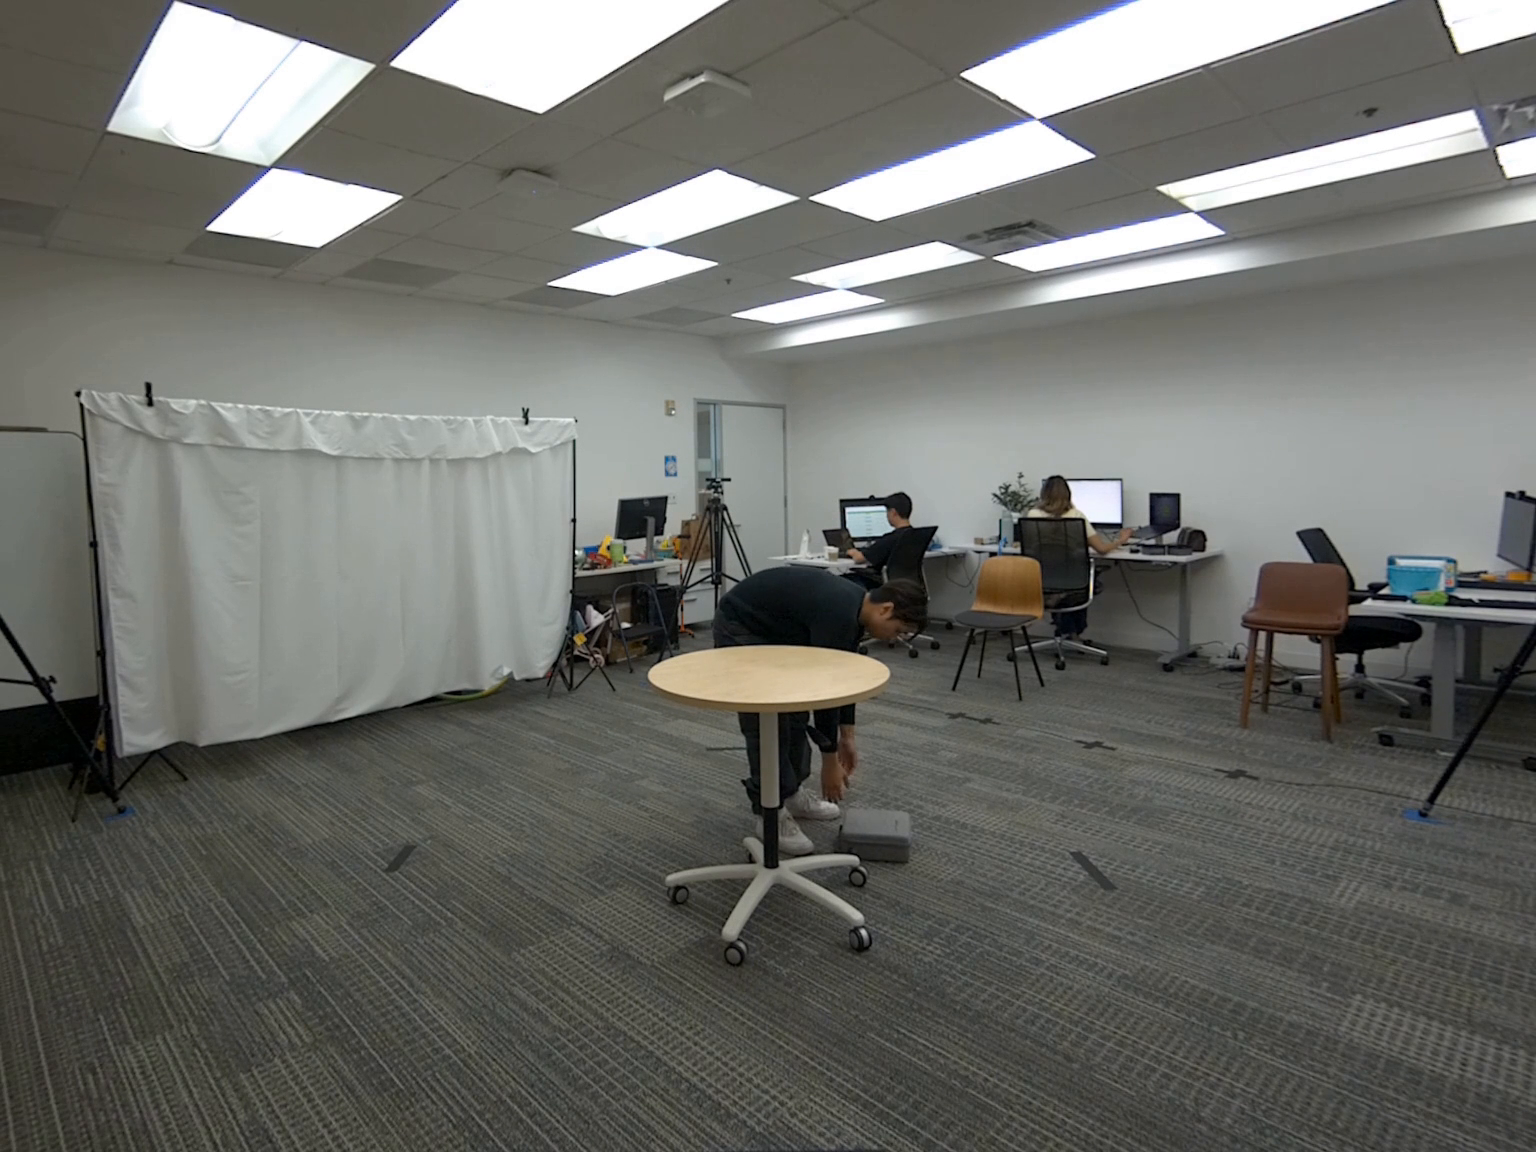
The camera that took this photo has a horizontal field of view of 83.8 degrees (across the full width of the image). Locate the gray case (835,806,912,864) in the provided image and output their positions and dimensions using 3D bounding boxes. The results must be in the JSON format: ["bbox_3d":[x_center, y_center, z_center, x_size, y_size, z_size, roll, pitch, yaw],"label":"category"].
[{"bbox_3d":[0.402,0.962,3.206,0.264,0.104,0.254,0,5,13],"label":"gray case"}]
